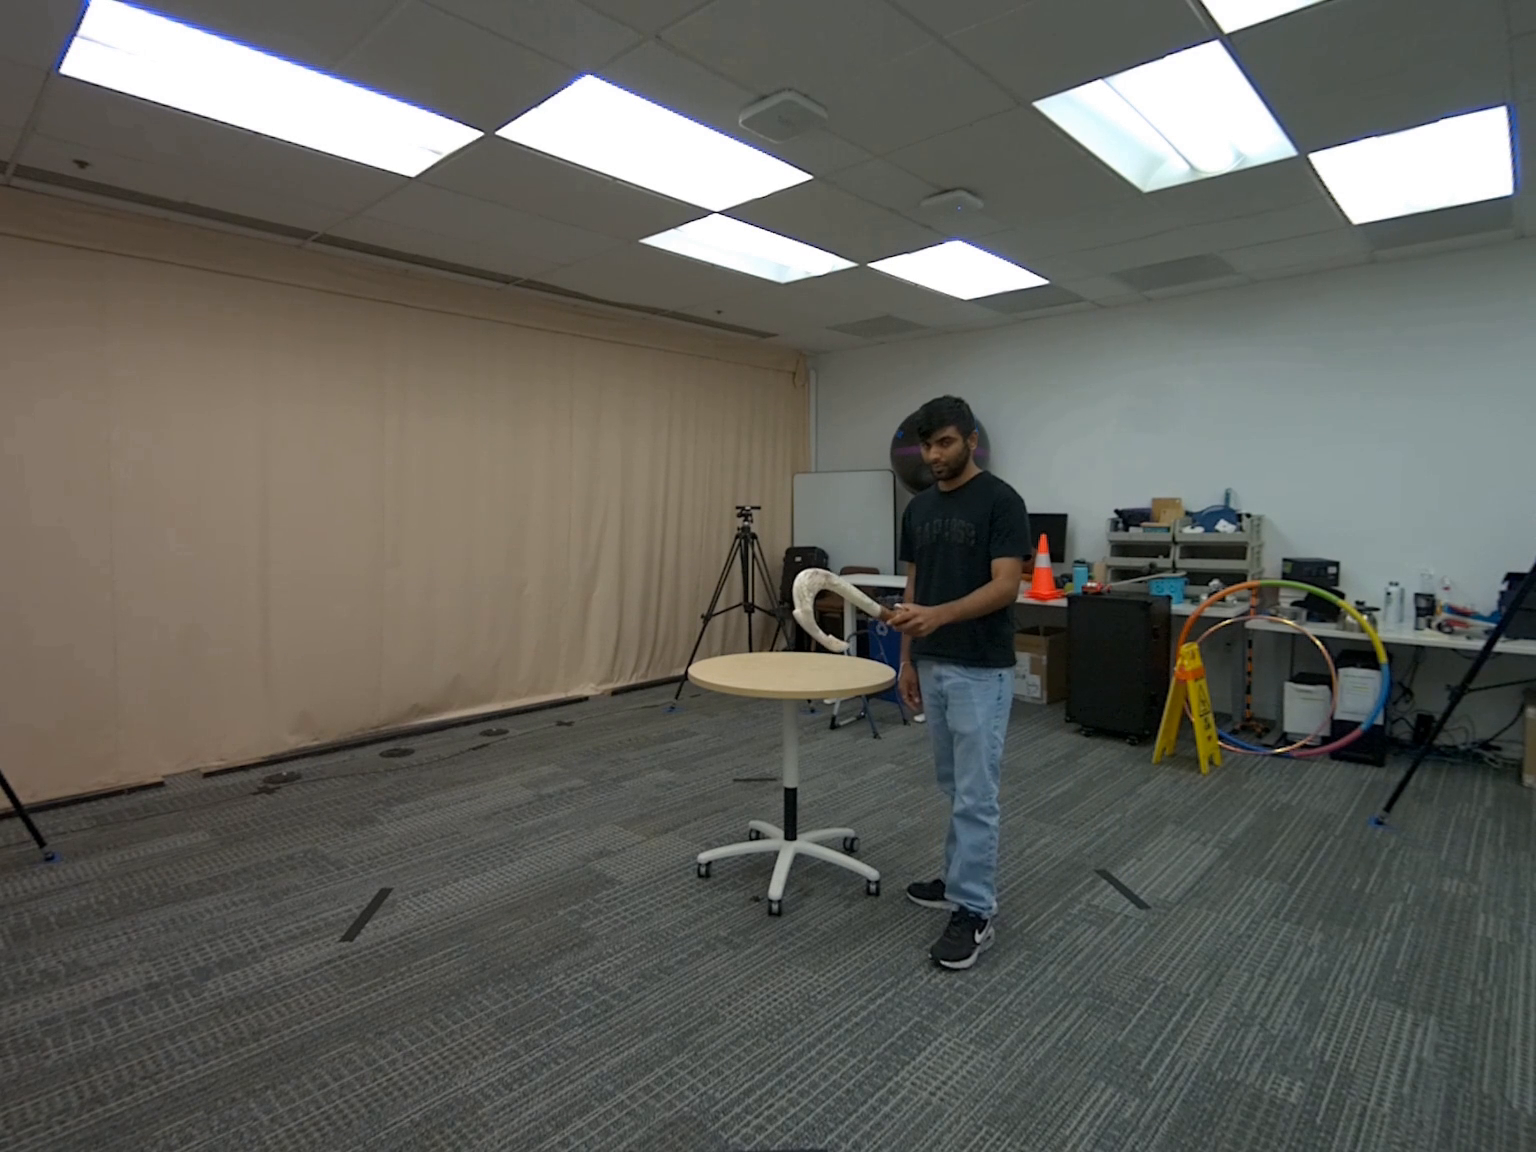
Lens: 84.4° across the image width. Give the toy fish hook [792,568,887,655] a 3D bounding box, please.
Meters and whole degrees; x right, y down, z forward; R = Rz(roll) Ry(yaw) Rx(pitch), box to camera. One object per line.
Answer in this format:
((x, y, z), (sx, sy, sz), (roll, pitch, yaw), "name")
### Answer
((0.269, 0.145, 2.352), (0.491, 0.227, 0.049), (20, -26, -30), "toy fish hook")
